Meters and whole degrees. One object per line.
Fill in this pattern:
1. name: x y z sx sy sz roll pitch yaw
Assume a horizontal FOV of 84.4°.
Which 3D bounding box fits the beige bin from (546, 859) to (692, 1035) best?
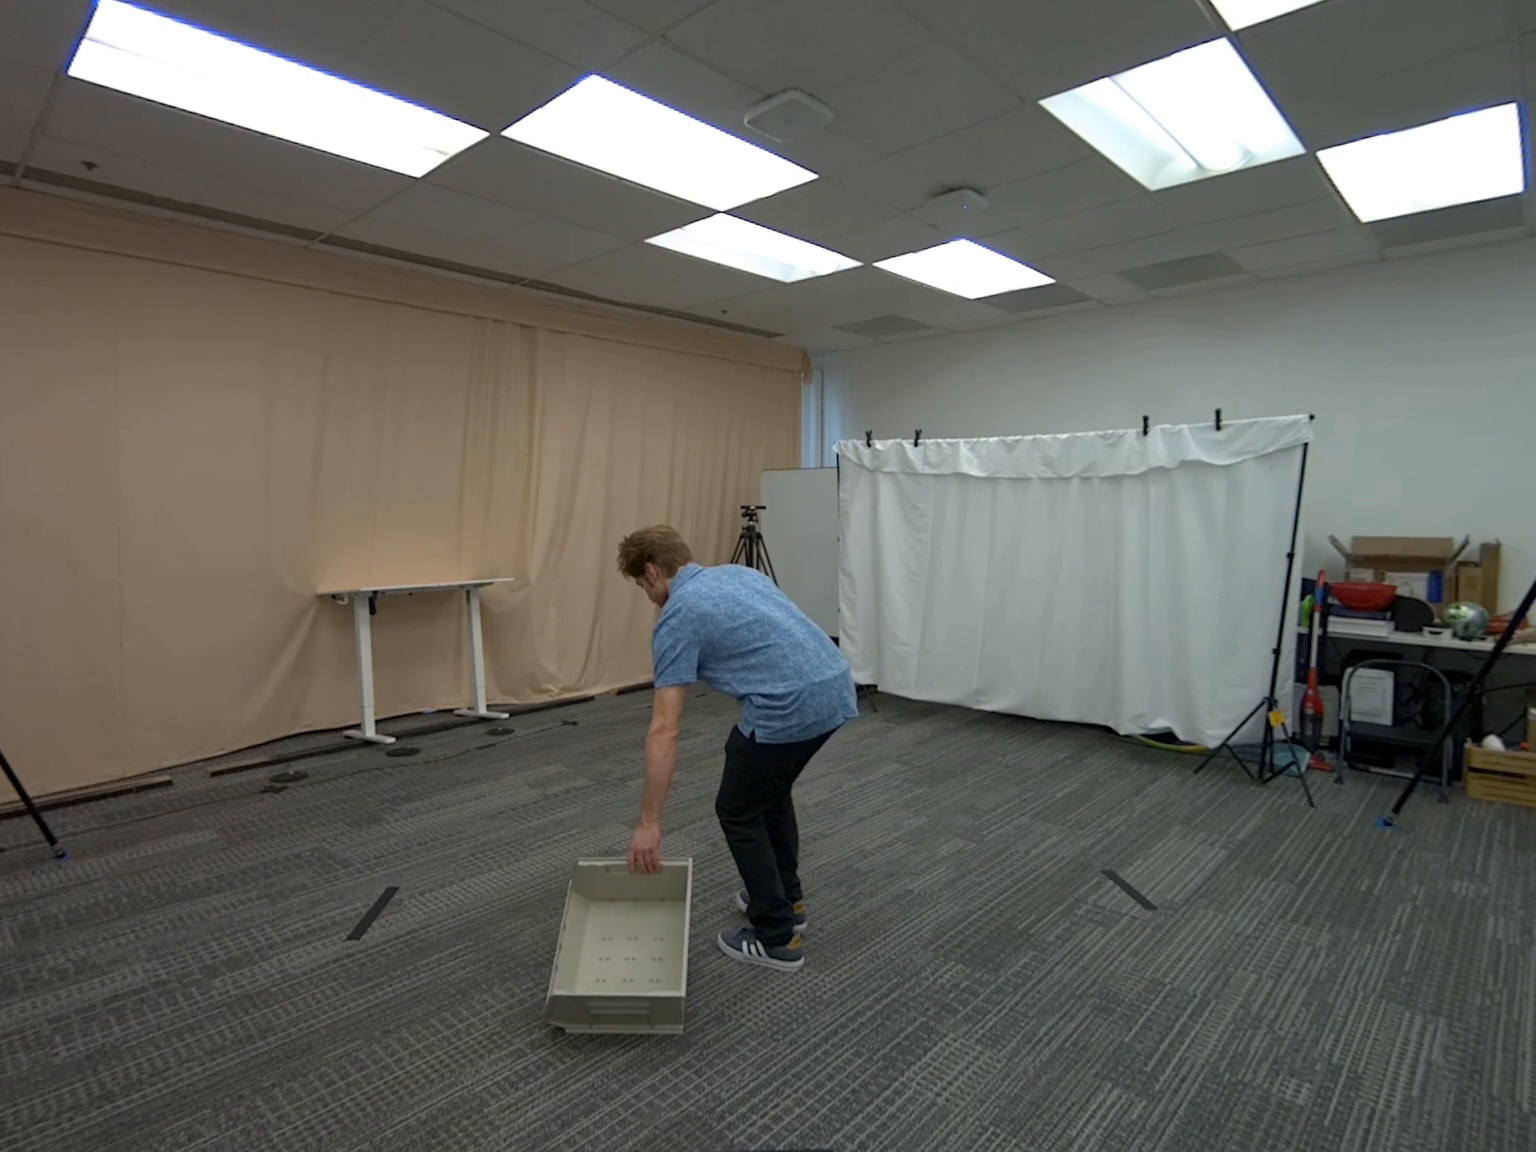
1. beige bin: -0.393 1.011 2.357 0.378 0.186 0.428 2 31 2
